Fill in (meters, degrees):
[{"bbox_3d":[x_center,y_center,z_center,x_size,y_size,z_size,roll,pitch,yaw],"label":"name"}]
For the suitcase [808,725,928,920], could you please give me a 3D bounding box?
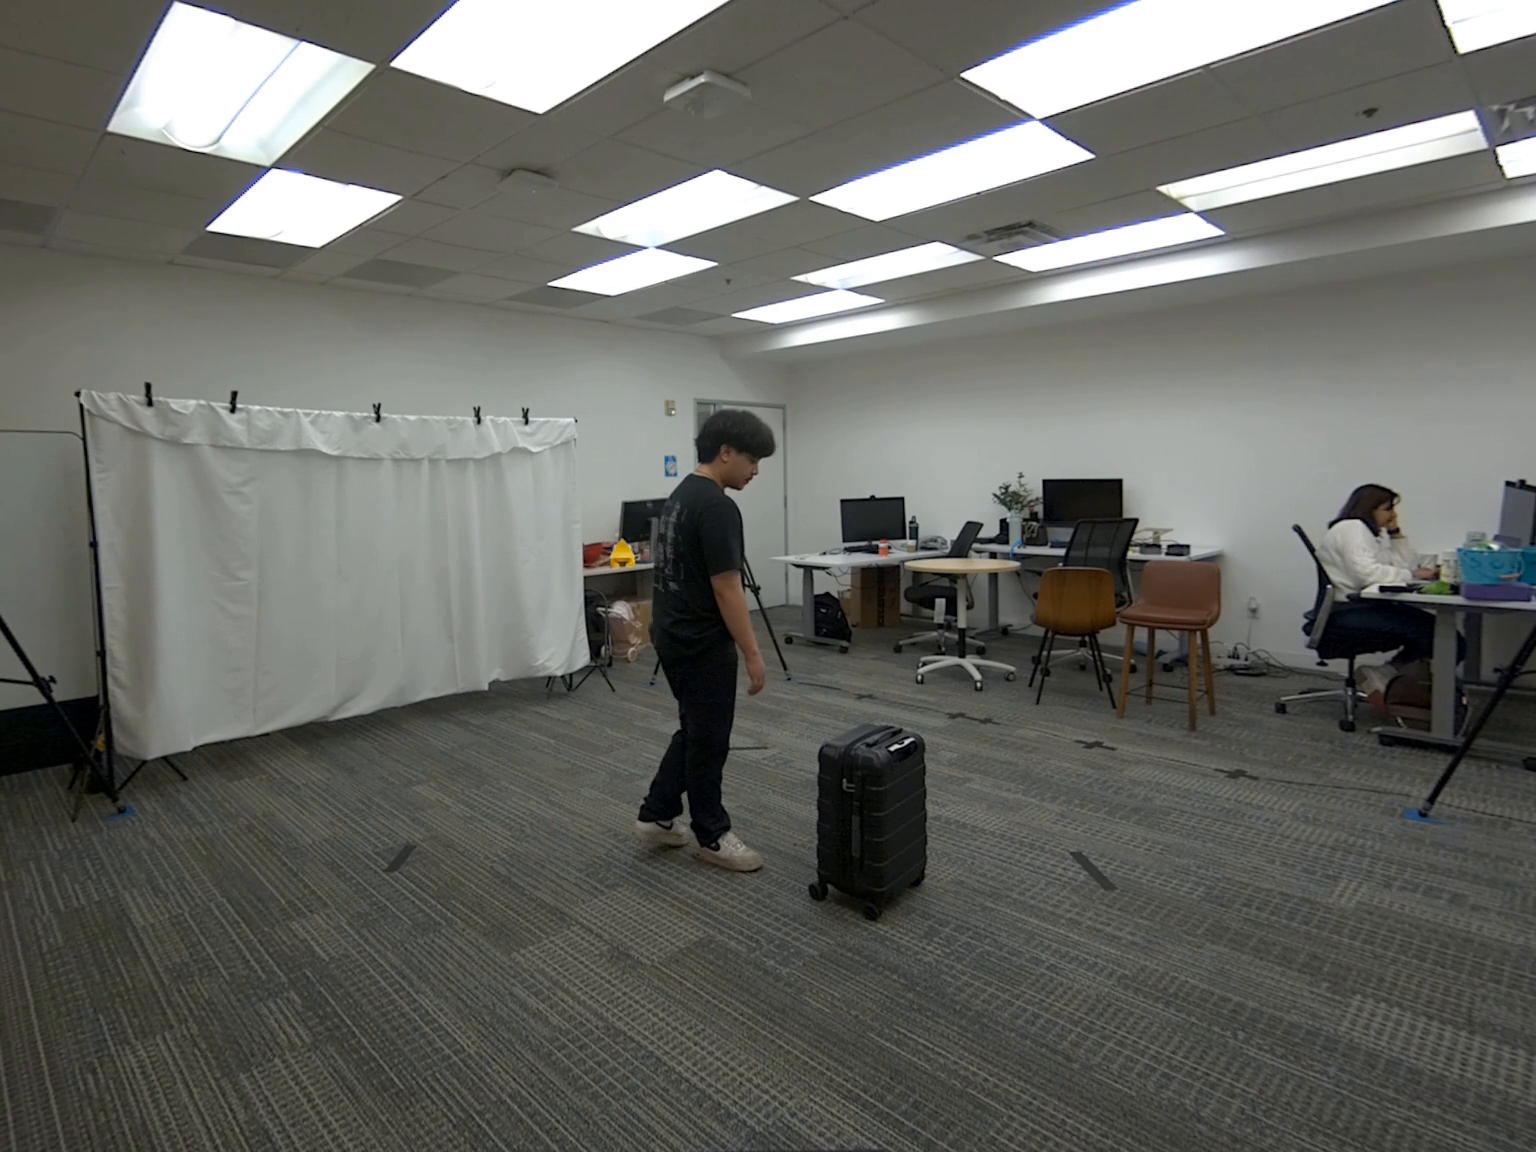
[{"bbox_3d":[0.350,0.791,2.843,0.256,0.547,0.366,4,7,38],"label":"suitcase"}]
